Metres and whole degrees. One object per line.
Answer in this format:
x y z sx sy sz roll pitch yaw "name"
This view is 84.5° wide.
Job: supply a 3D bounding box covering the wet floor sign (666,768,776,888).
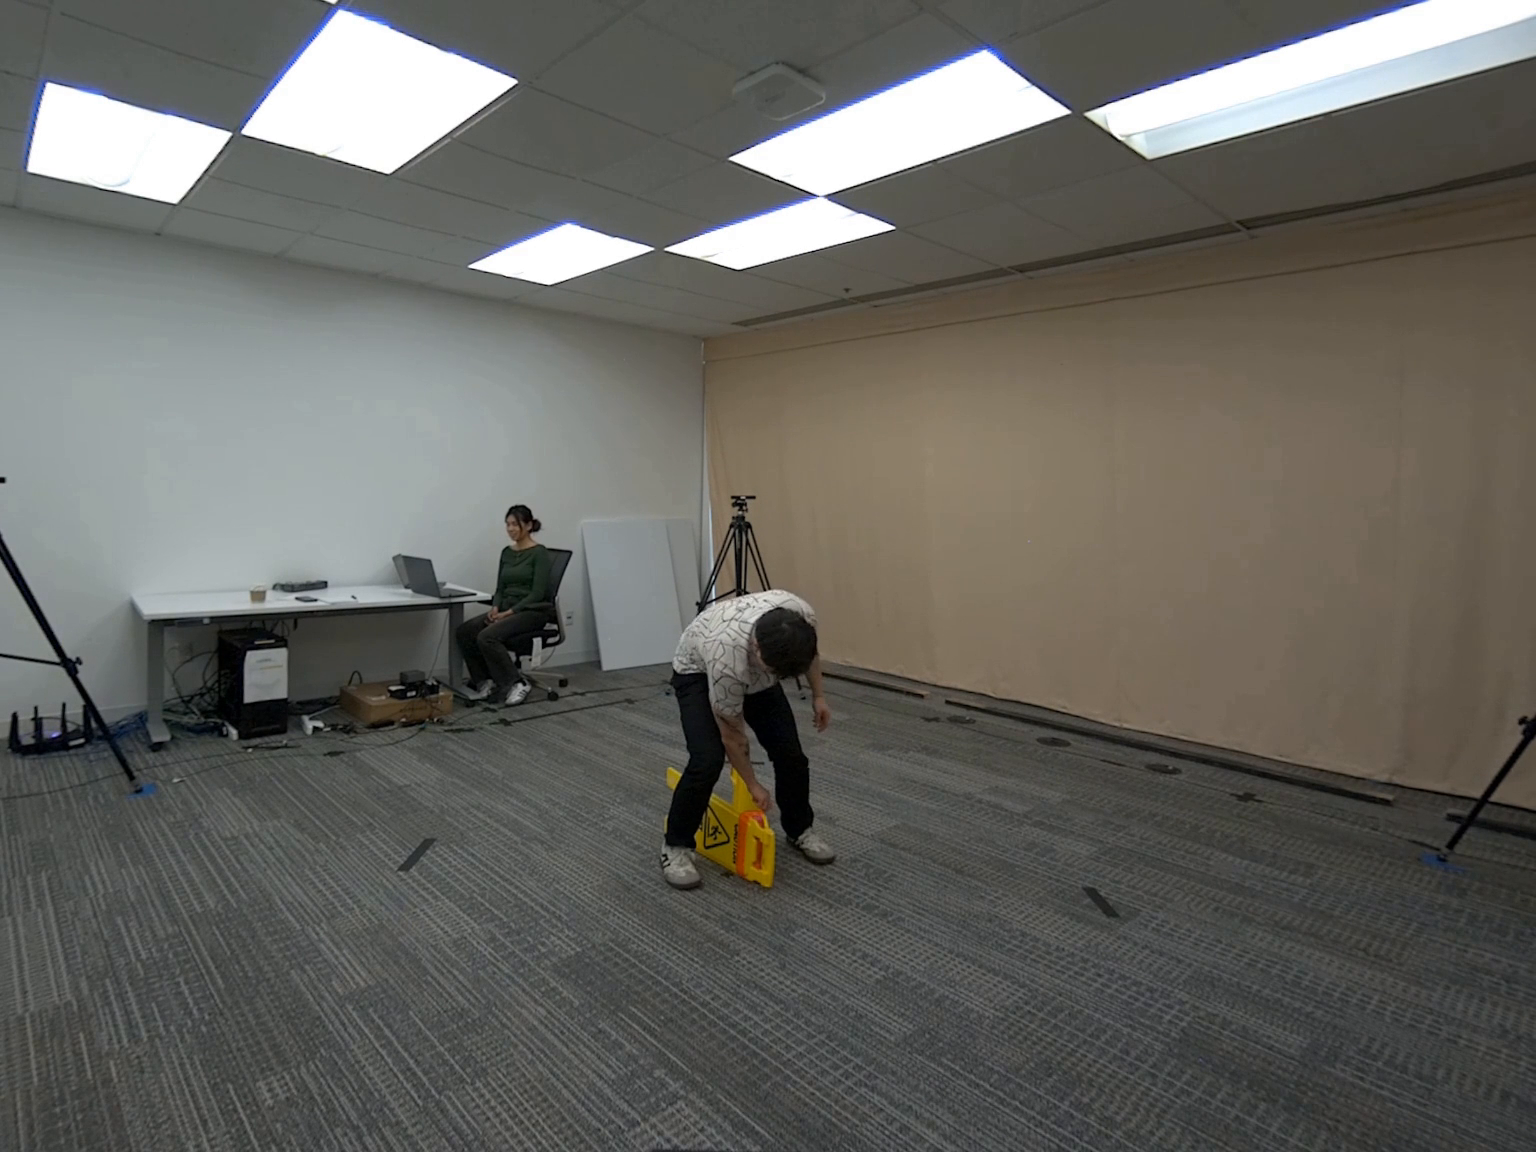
-0.144 0.958 3.240 0.284 0.281 0.661 0 6 -28 "wet floor sign"
